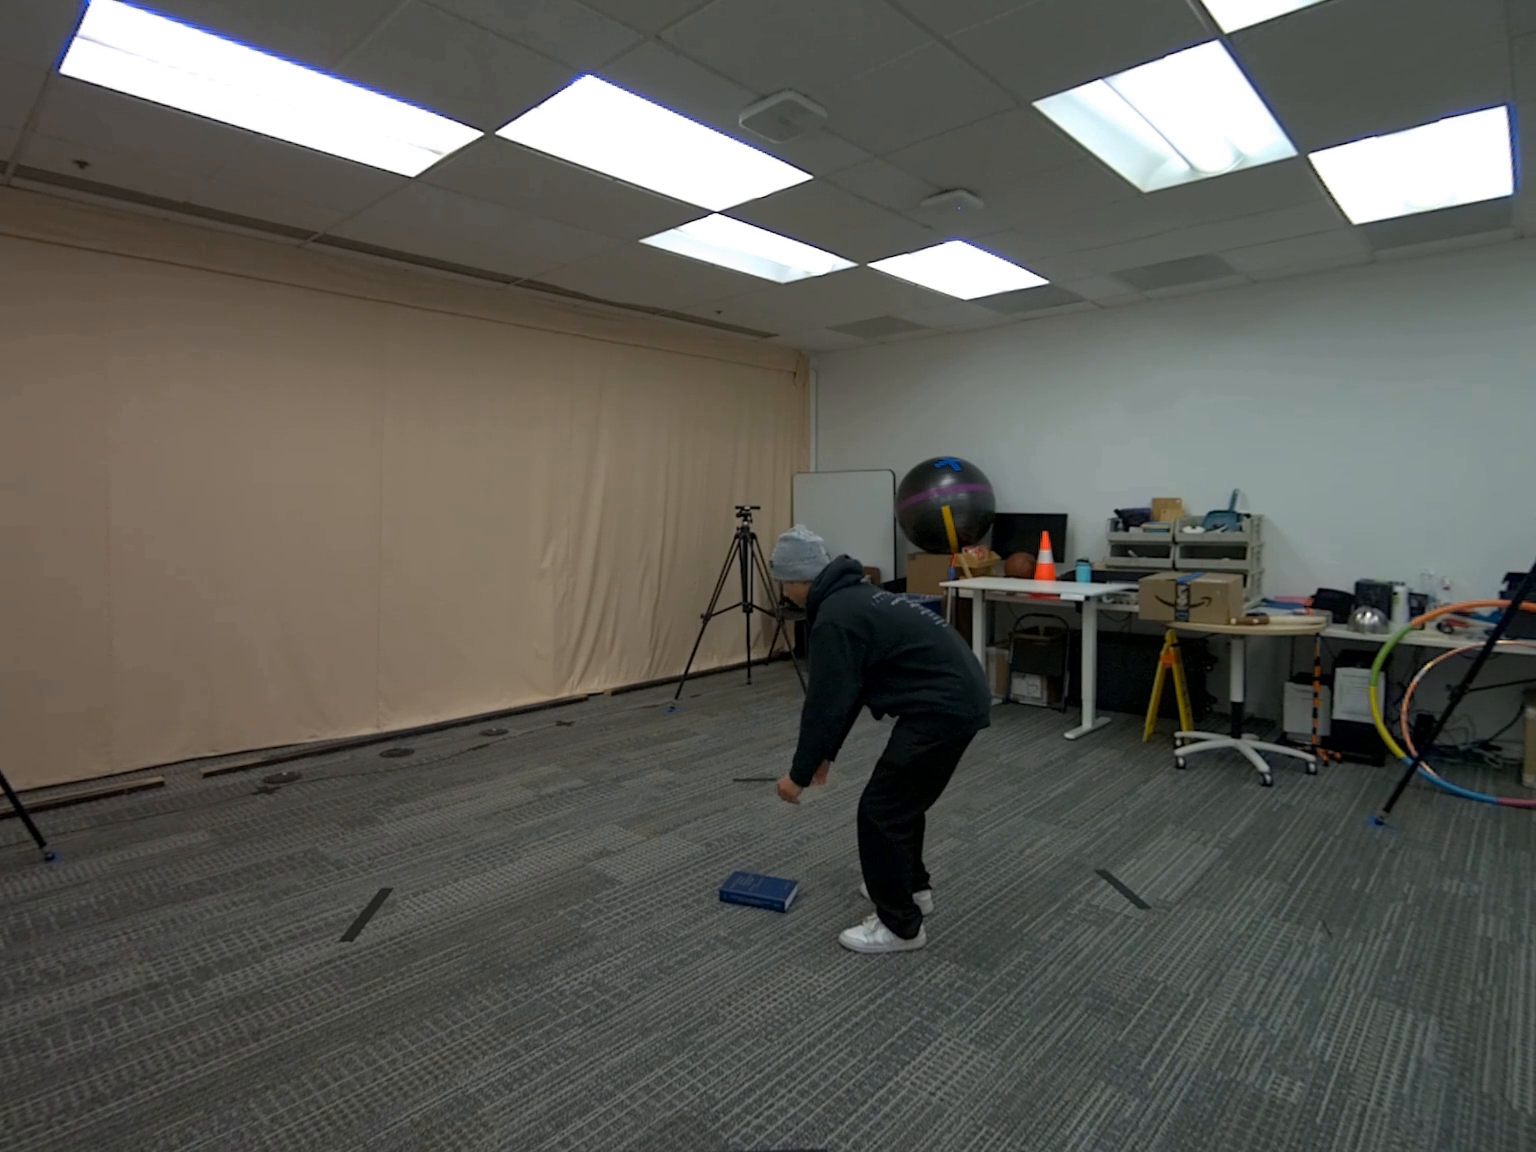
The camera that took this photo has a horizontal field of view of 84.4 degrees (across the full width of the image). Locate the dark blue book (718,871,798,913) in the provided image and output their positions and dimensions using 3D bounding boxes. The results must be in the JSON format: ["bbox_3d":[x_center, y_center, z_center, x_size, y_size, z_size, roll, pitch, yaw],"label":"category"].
[{"bbox_3d":[-0.028,1.118,2.993,0.250,0.045,0.160,1,5,21],"label":"dark blue book"}]
